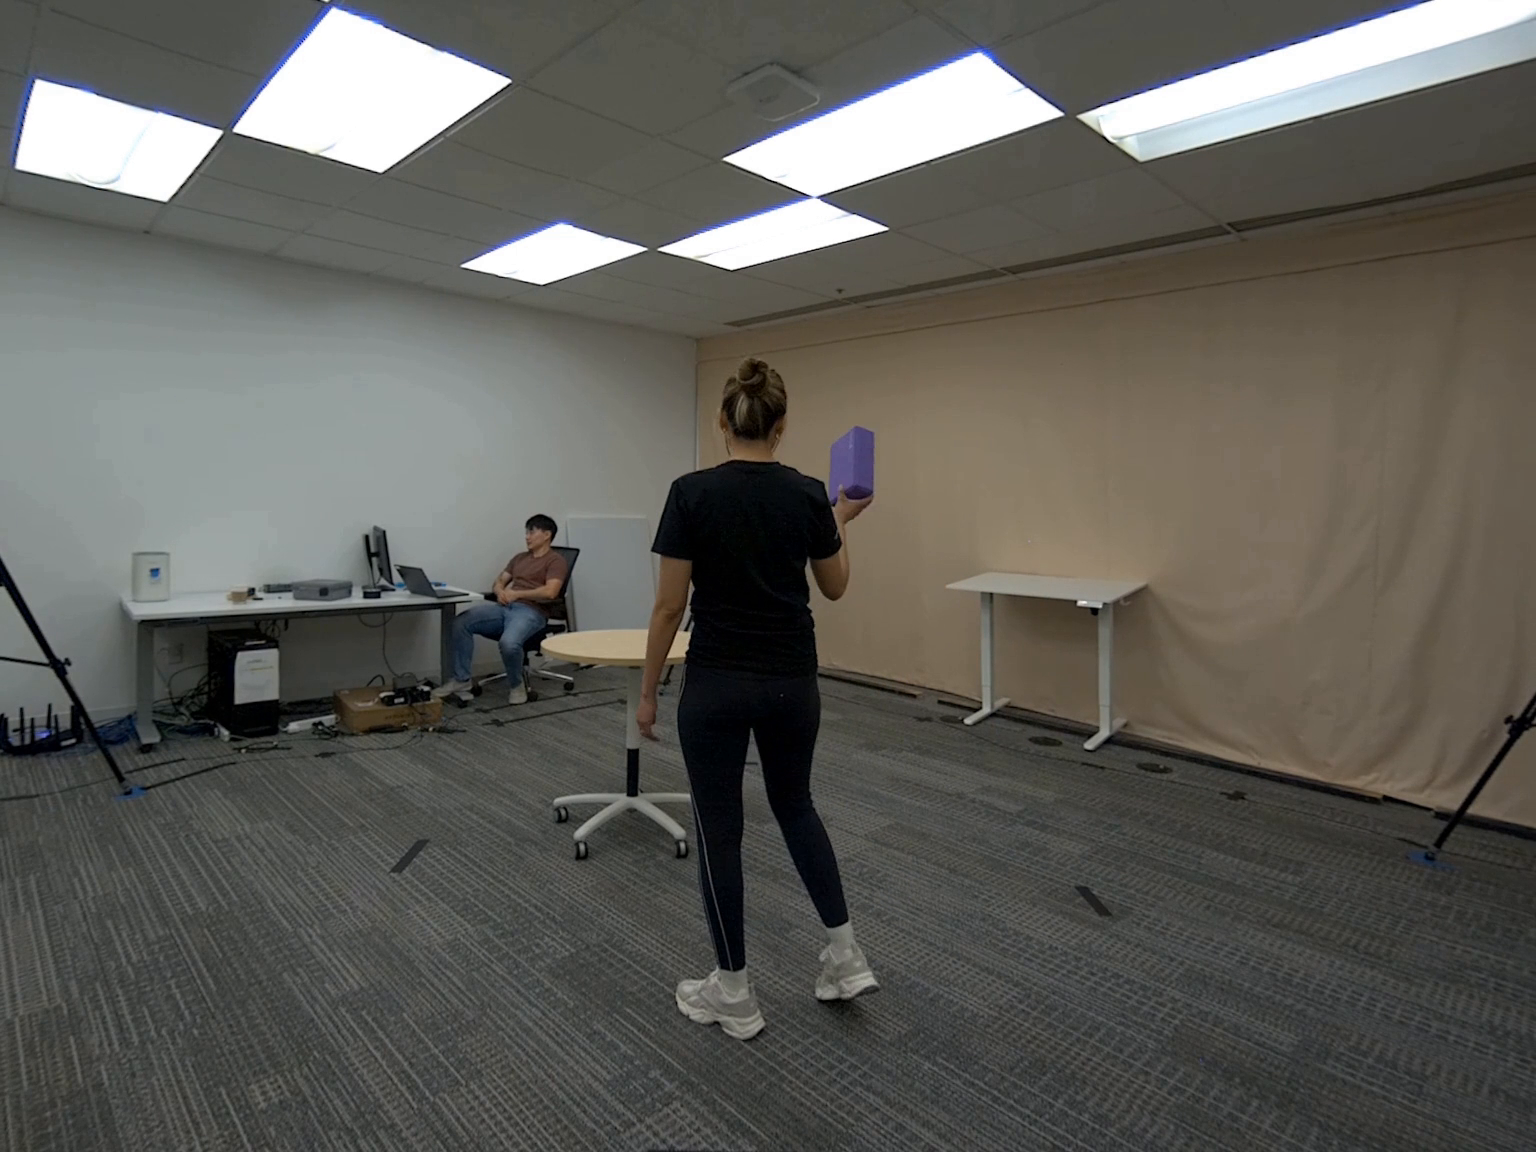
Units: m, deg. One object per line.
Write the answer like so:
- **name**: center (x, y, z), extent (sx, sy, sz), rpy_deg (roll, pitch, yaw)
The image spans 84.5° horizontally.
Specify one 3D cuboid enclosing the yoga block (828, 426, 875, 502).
- **yoga block**: center (0.253, -0.332, 2.610), extent (0.075, 0.233, 0.150), rpy_deg (19, -29, -22)
